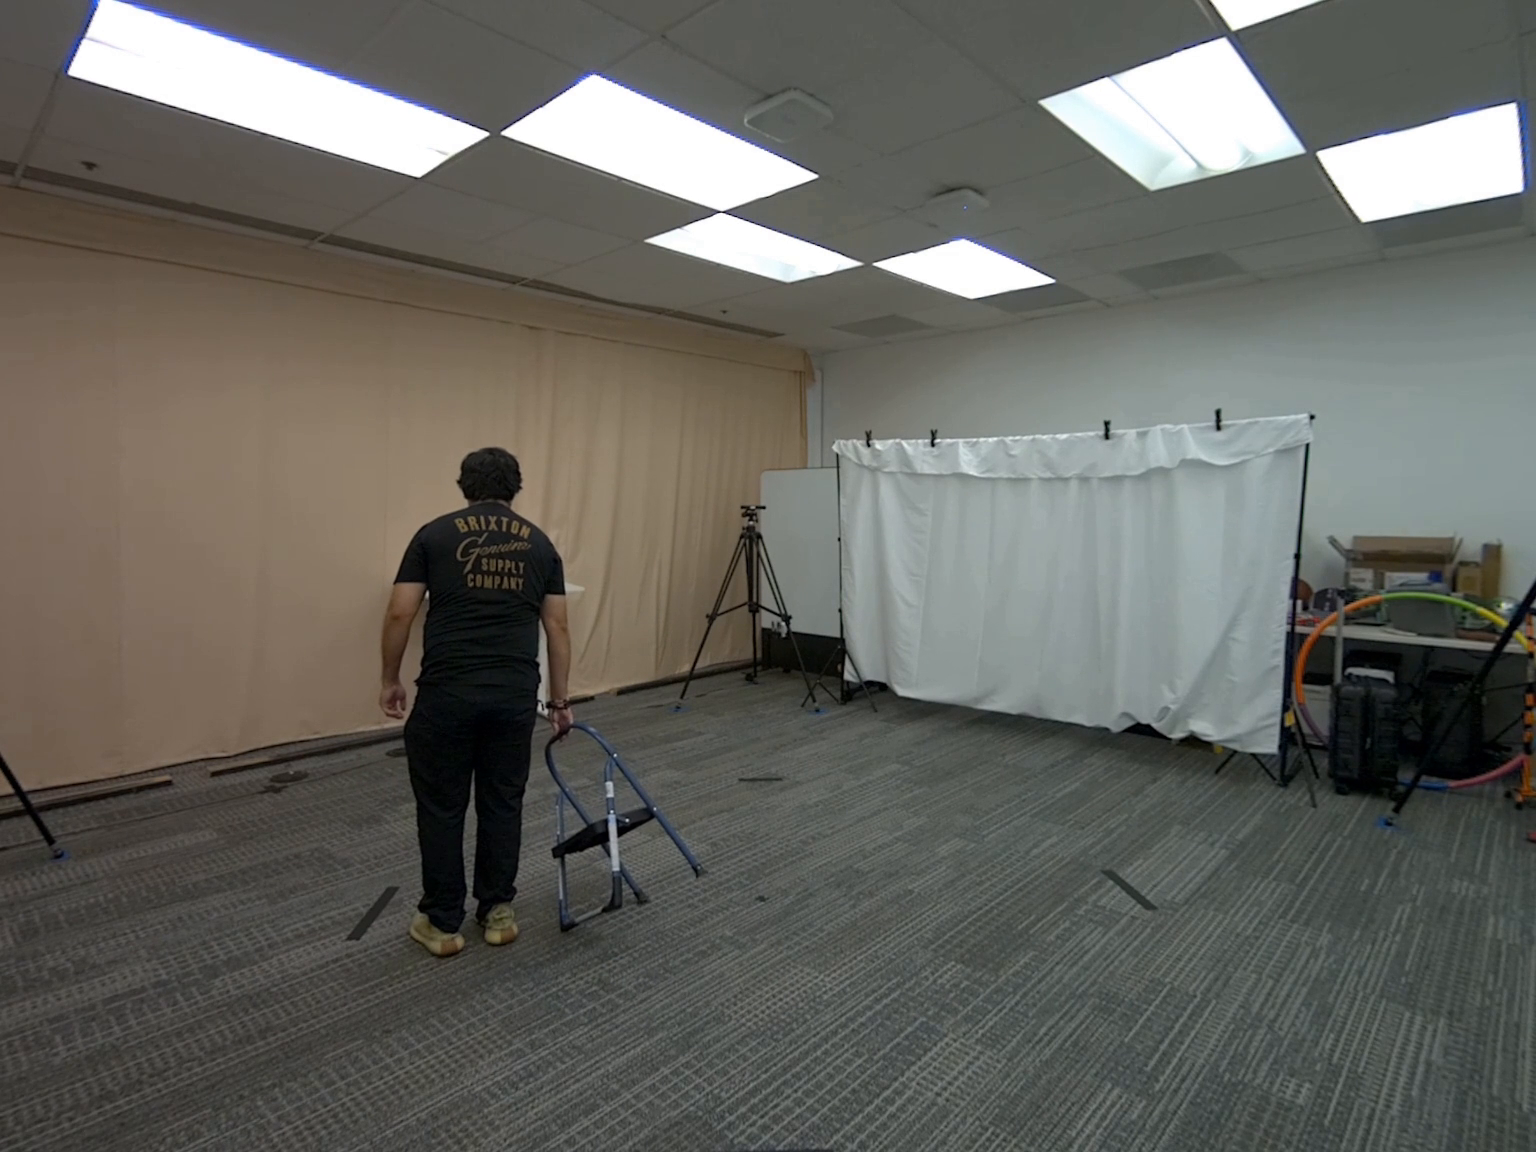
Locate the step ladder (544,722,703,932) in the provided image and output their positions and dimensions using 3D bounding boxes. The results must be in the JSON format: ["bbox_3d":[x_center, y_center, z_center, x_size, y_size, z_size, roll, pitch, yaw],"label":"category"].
[{"bbox_3d":[-0.547,0.800,2.825,0.338,0.618,0.435,-4,-27,-42],"label":"step ladder"}]
